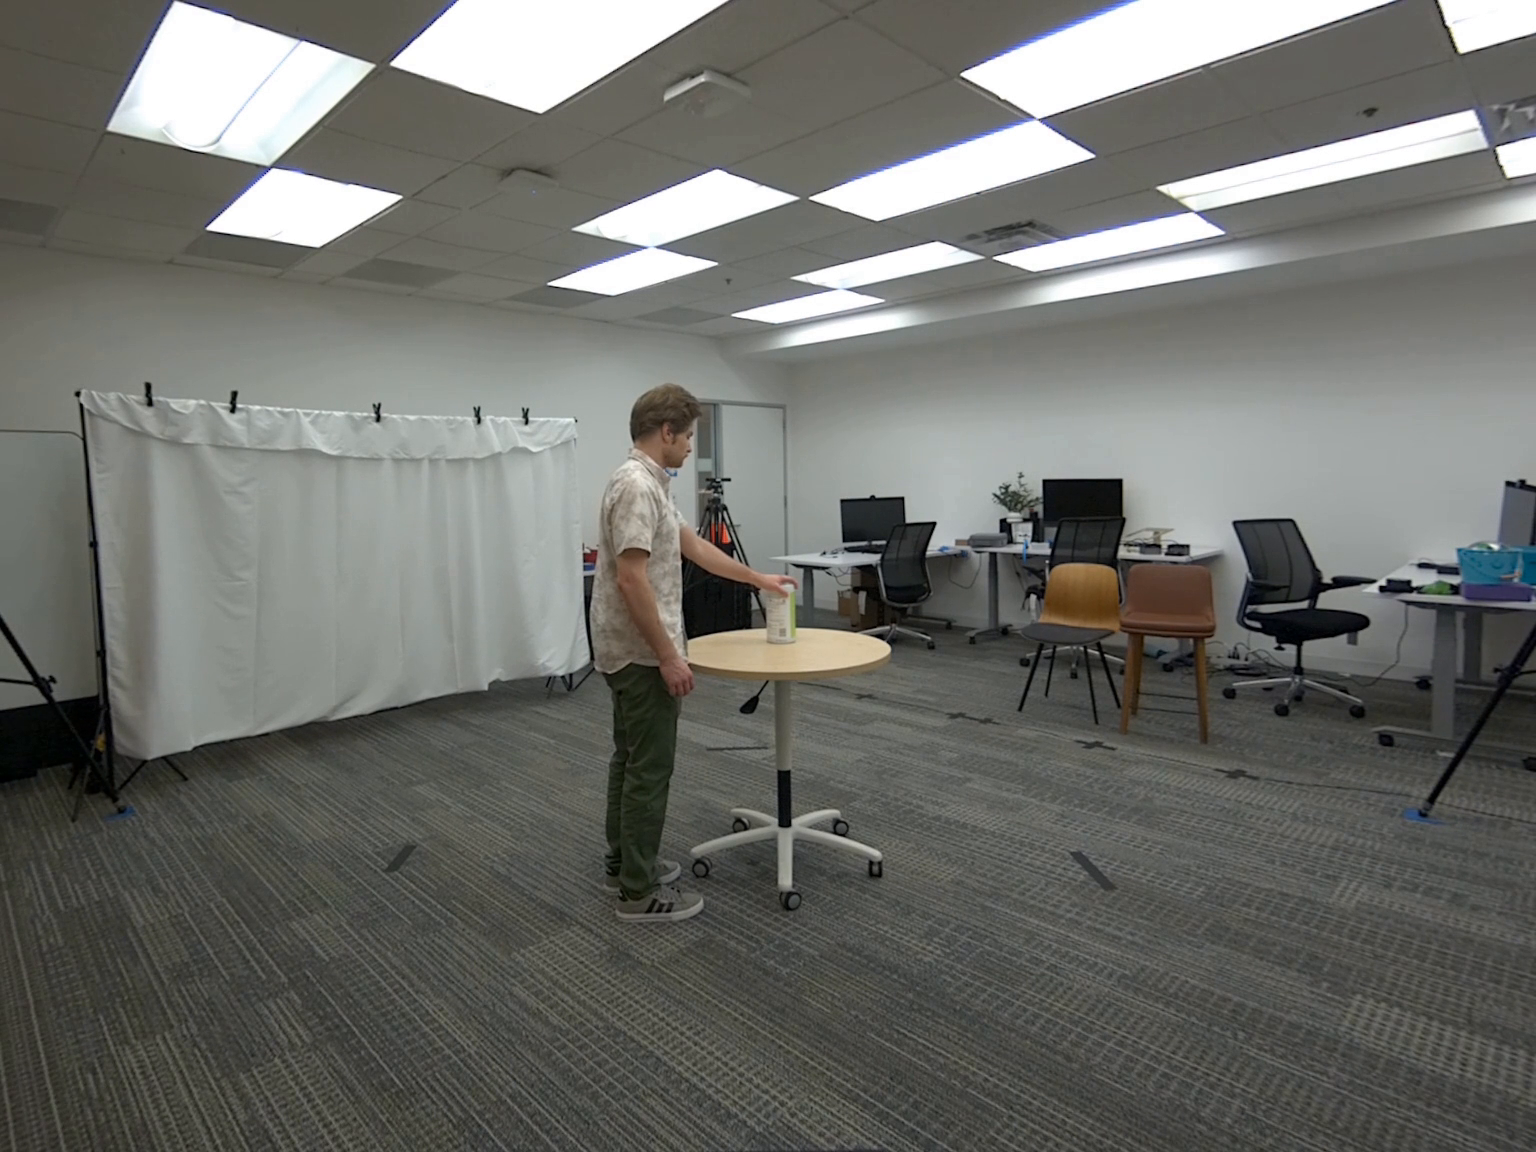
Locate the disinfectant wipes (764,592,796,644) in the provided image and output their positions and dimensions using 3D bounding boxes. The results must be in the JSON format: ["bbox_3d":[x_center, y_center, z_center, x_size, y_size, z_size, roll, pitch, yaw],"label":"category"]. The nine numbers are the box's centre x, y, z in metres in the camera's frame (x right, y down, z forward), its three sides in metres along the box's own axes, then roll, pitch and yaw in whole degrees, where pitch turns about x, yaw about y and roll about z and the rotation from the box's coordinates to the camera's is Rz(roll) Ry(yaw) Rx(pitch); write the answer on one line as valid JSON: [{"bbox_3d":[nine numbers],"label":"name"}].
[{"bbox_3d":[0.053,0.140,3.158,0.118,0.217,0.118,0,2,-2],"label":"disinfectant wipes"}]
